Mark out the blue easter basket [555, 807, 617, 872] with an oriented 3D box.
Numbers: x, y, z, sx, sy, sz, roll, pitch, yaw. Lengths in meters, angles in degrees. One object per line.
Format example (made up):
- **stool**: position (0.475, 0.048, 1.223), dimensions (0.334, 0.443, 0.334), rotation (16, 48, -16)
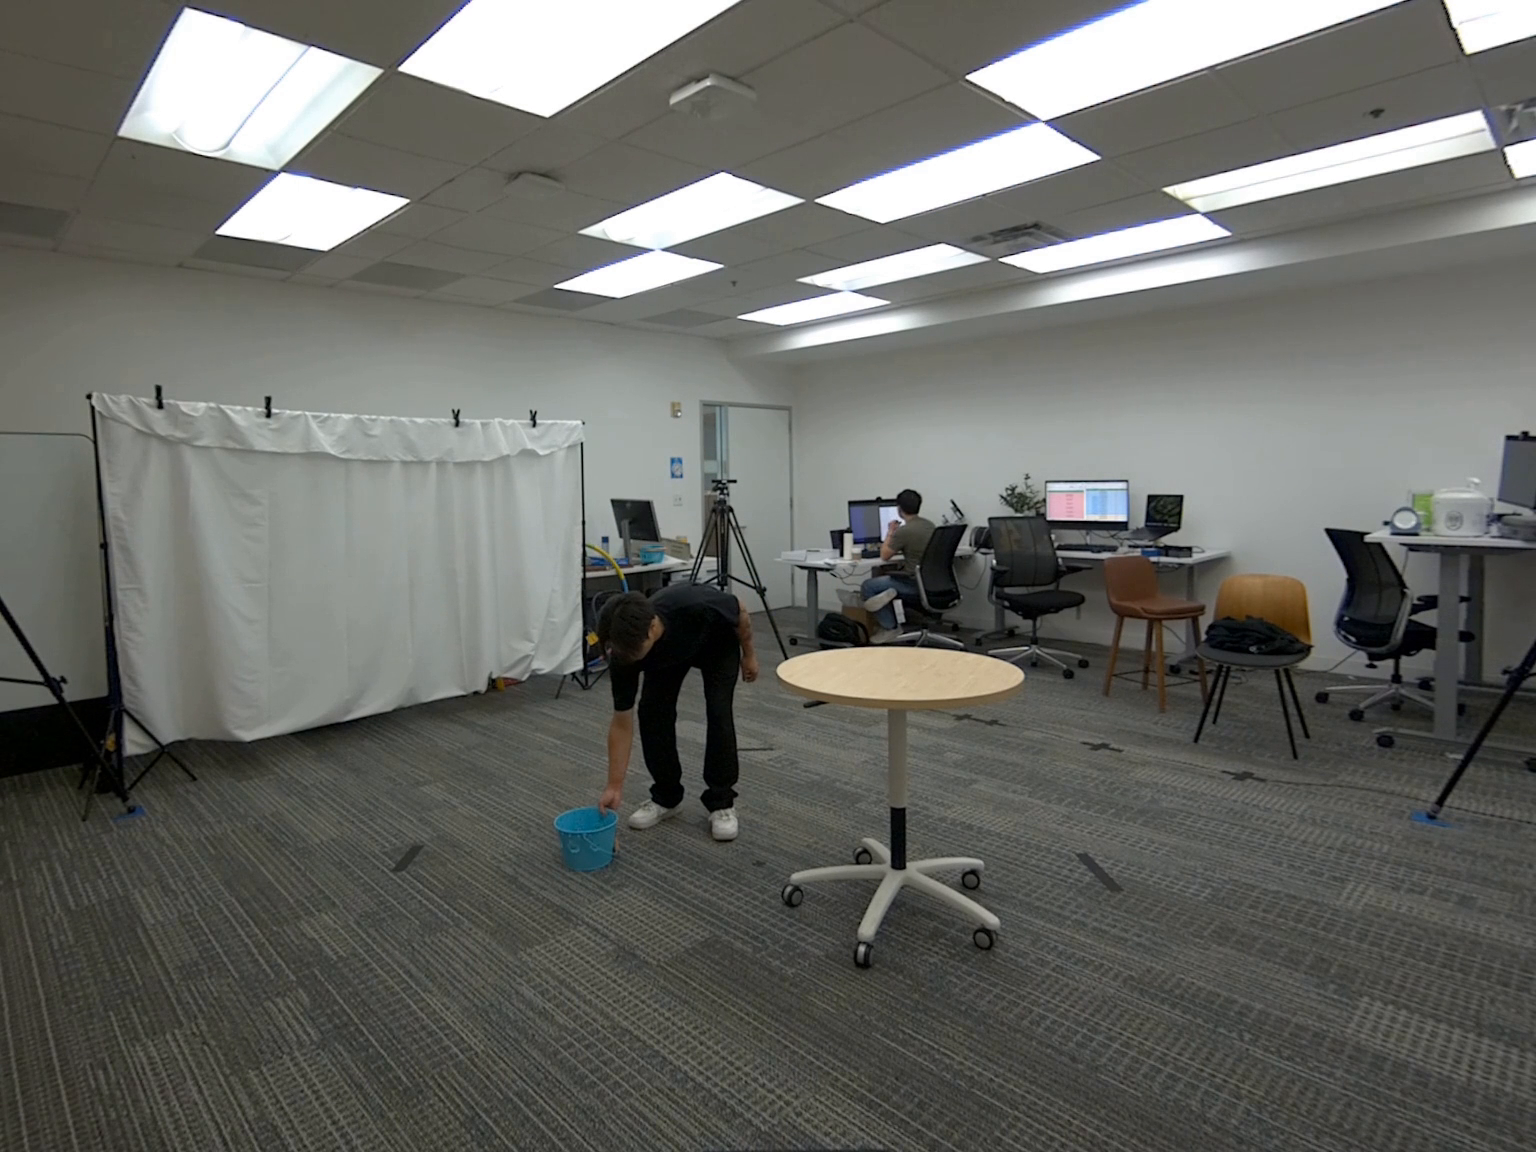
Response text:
- **blue easter basket**: position (-0.665, 0.976, 3.159), dimensions (0.243, 0.155, 0.245), rotation (-1, 7, -2)
